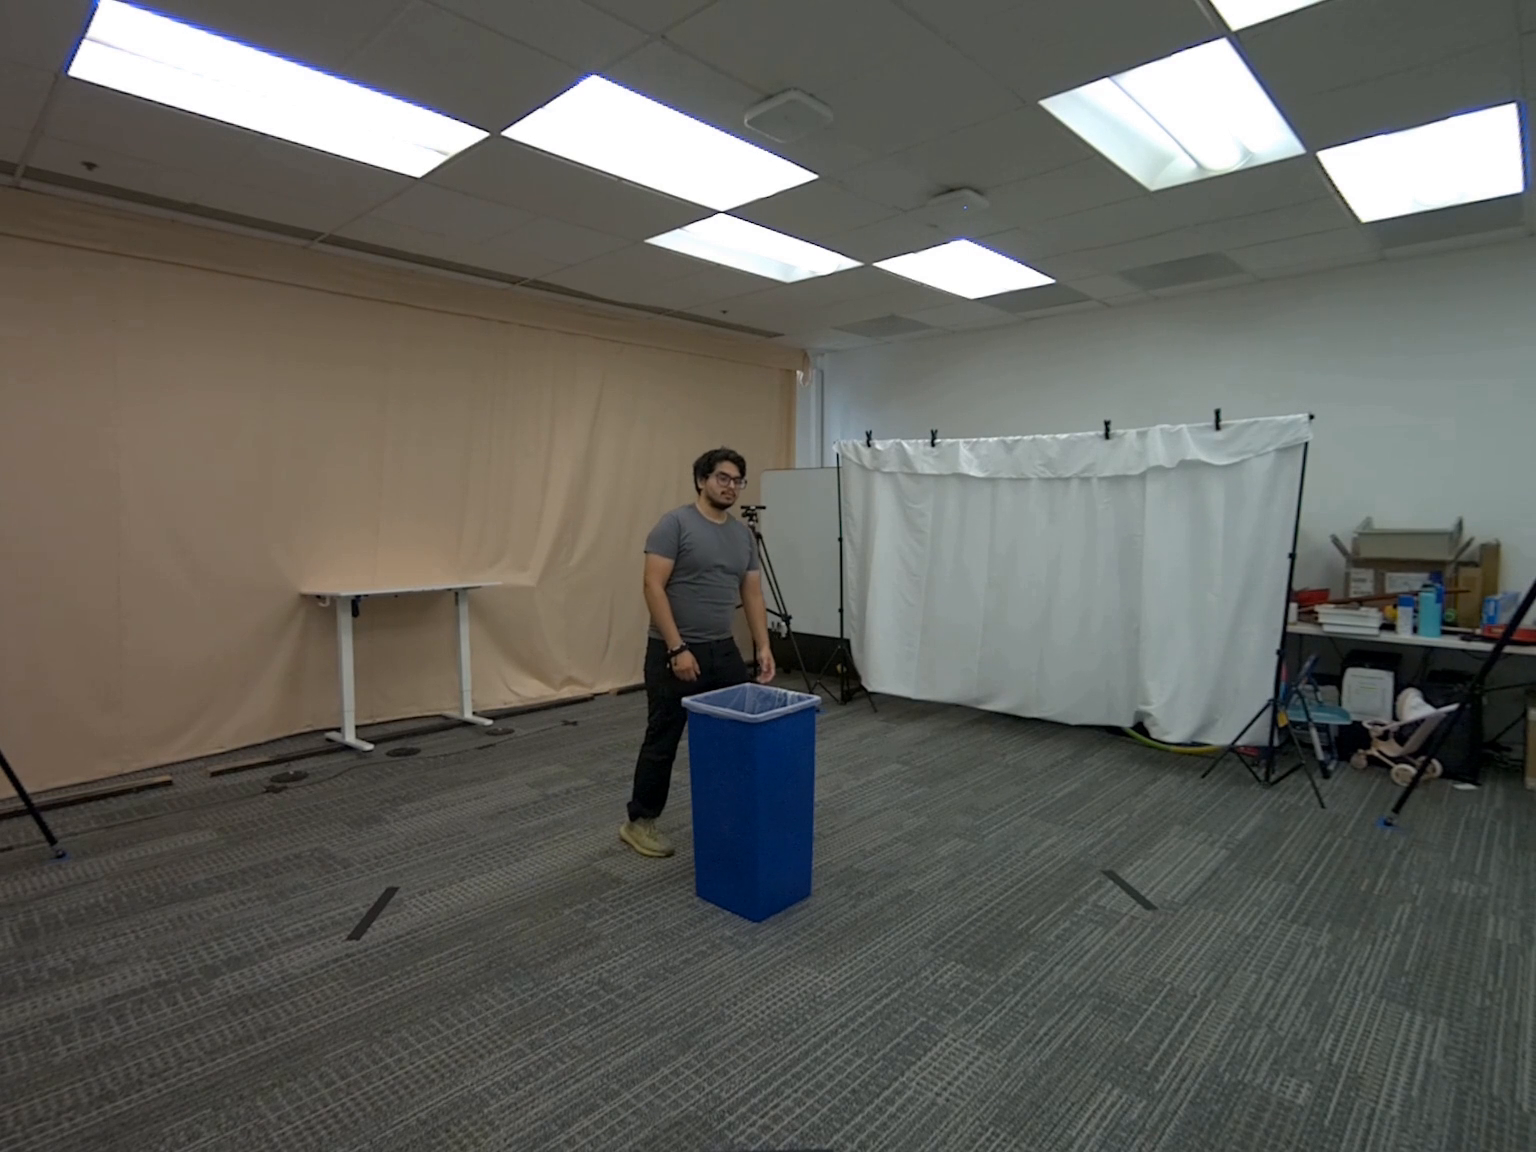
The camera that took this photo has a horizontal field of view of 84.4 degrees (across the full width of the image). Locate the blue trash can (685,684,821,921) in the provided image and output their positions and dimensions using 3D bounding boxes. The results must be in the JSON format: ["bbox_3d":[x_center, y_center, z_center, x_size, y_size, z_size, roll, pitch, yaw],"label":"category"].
[{"bbox_3d":[-0.042,0.787,2.990,0.386,0.712,0.367,2,4,42],"label":"blue trash can"}]
